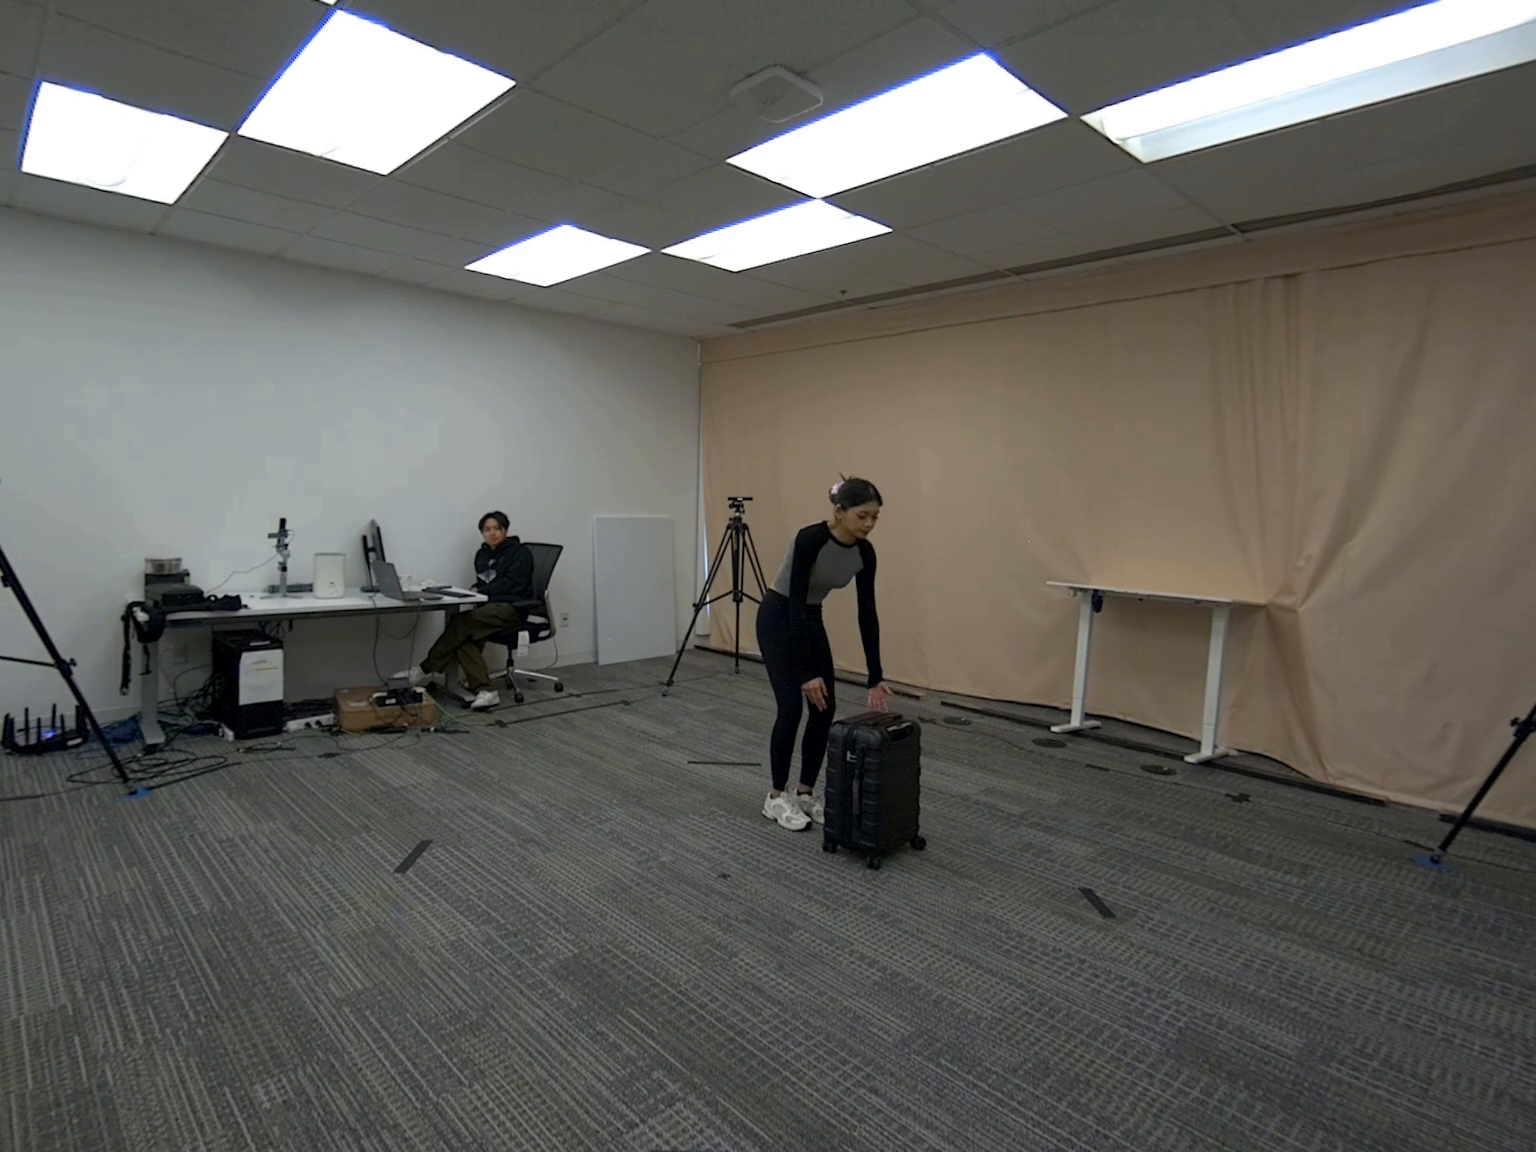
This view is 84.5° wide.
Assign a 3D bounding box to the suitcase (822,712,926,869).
[{"bbox_3d":[0.415,0.825,3.344,0.254,0.548,0.367,4,5,44],"label":"suitcase"}]
